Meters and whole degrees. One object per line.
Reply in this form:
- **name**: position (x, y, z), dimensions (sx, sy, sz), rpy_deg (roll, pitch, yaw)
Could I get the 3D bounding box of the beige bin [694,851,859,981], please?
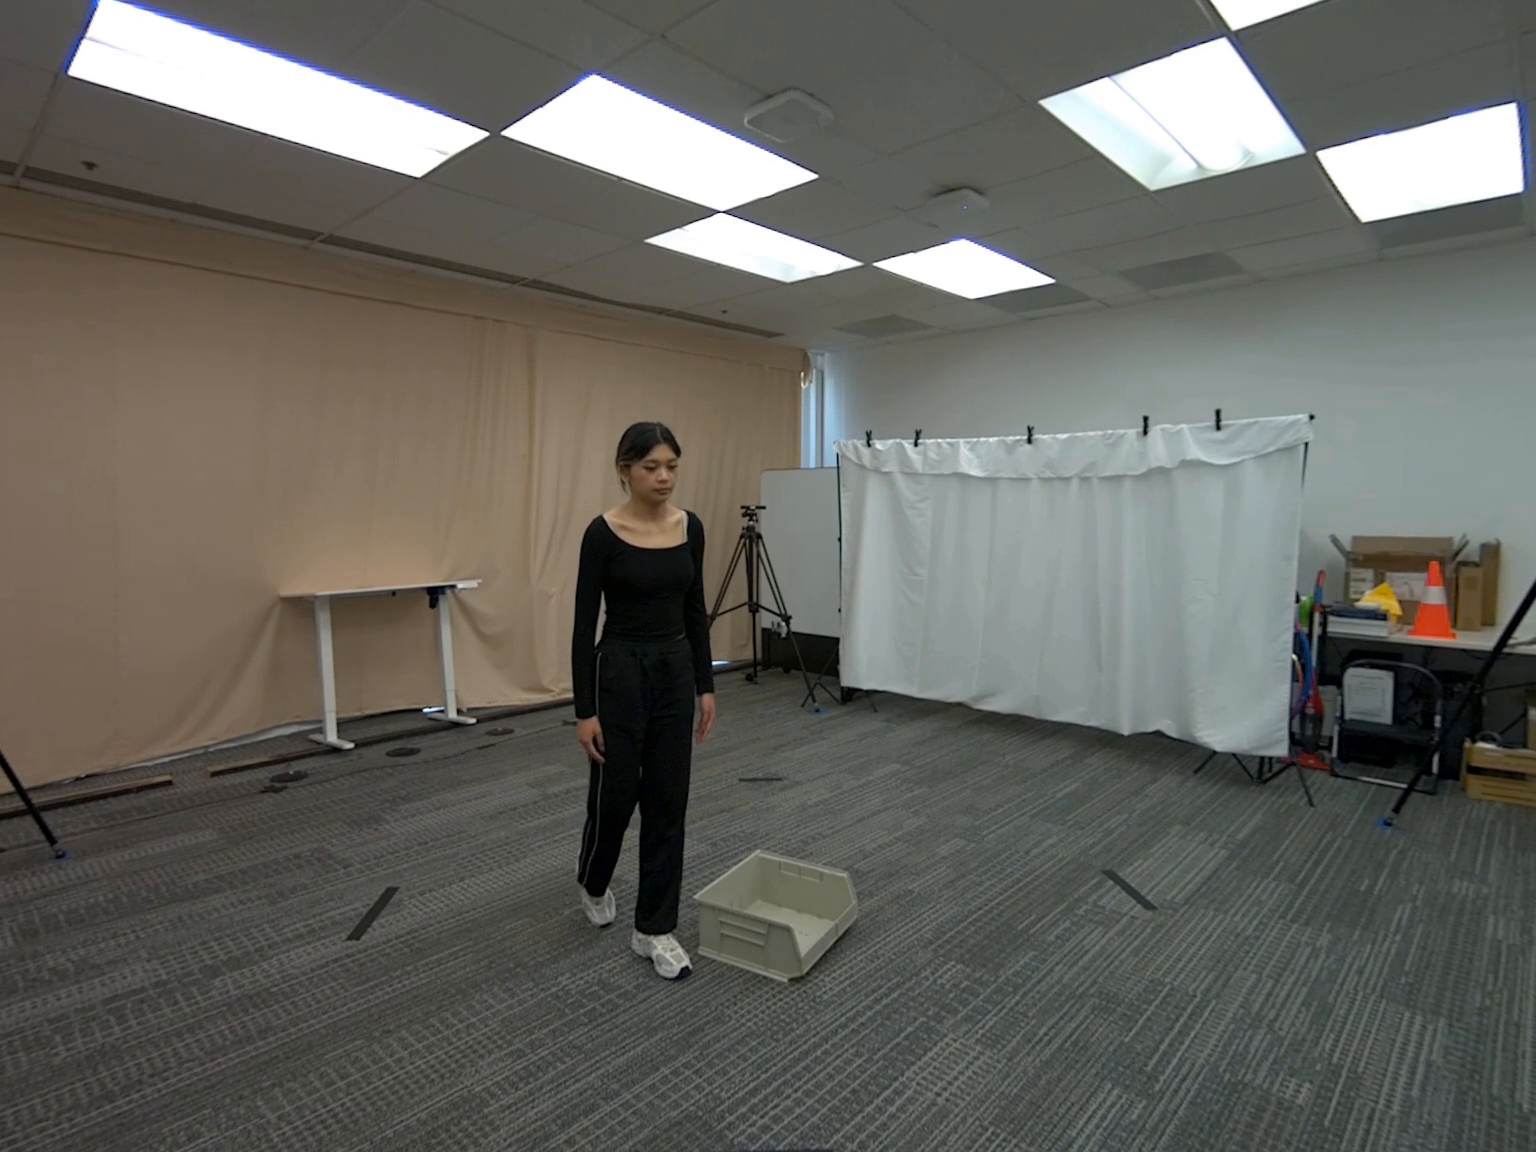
- **beige bin**: position (0.033, 1.082, 2.695), dimensions (0.388, 0.188, 0.411), rpy_deg (1, 5, 30)
